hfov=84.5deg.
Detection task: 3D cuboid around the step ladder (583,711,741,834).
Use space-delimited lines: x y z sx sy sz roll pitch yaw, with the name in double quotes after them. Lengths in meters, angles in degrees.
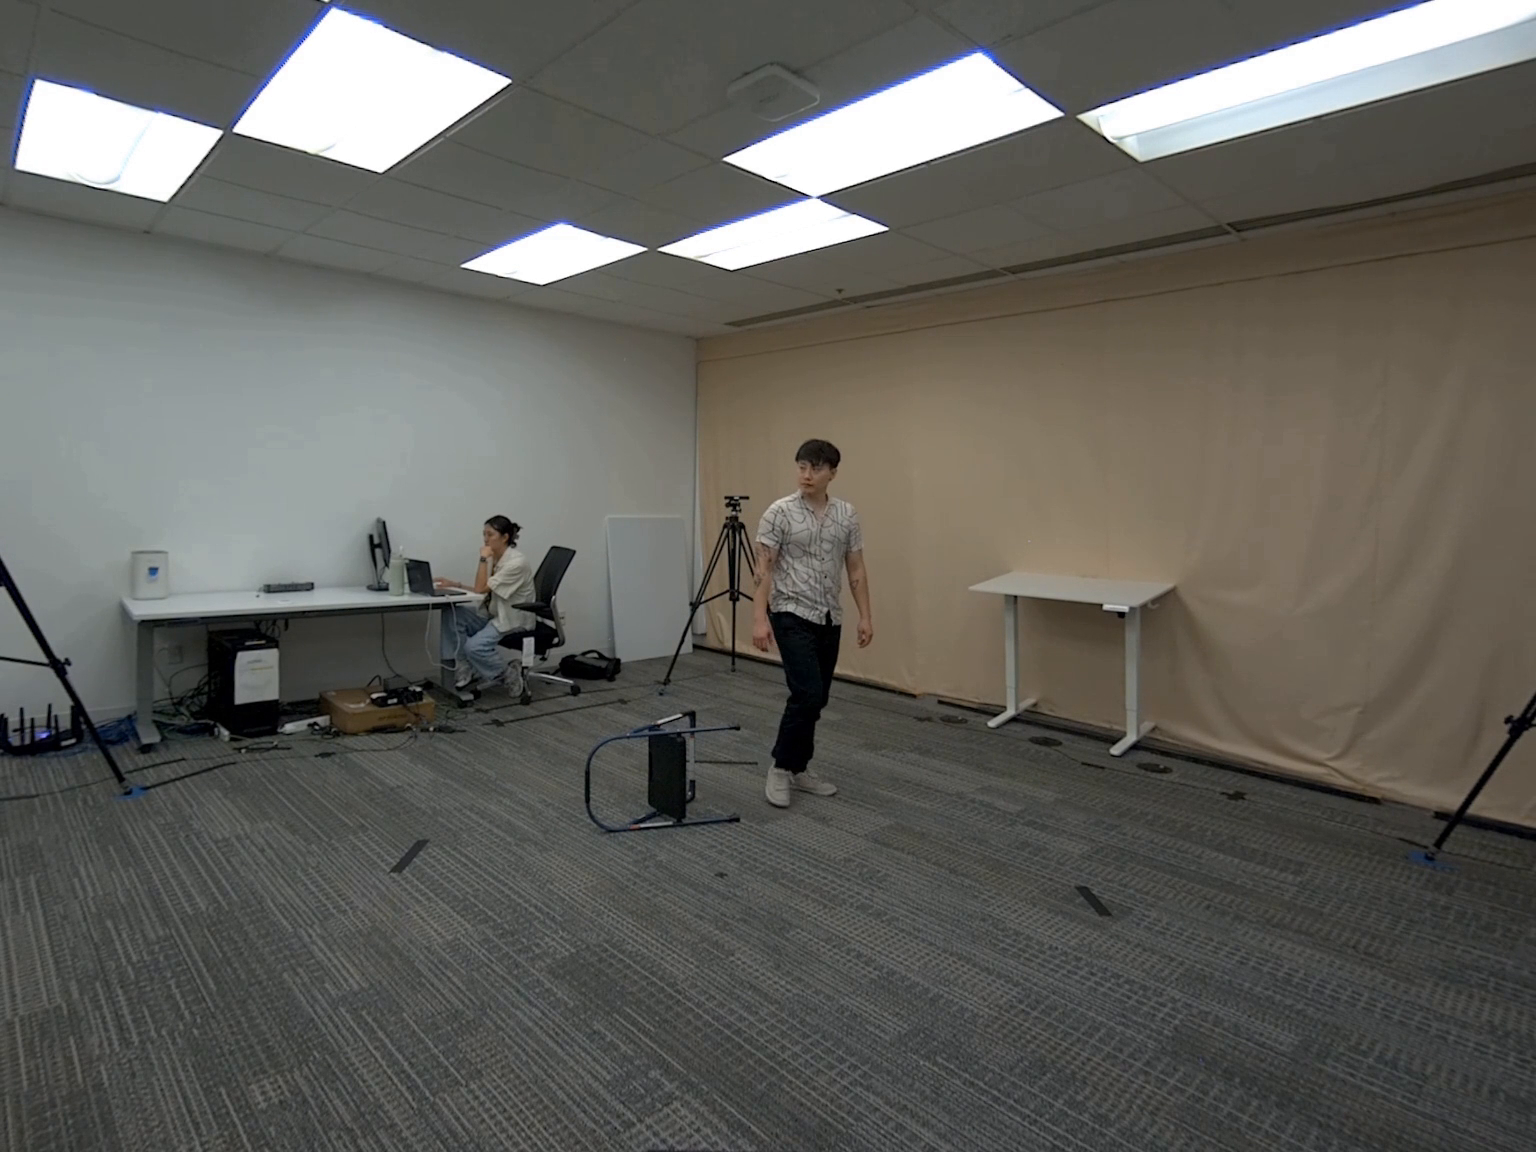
-0.473 0.846 3.560 0.592 0.430 0.358 -2 4 -39 "step ladder"
